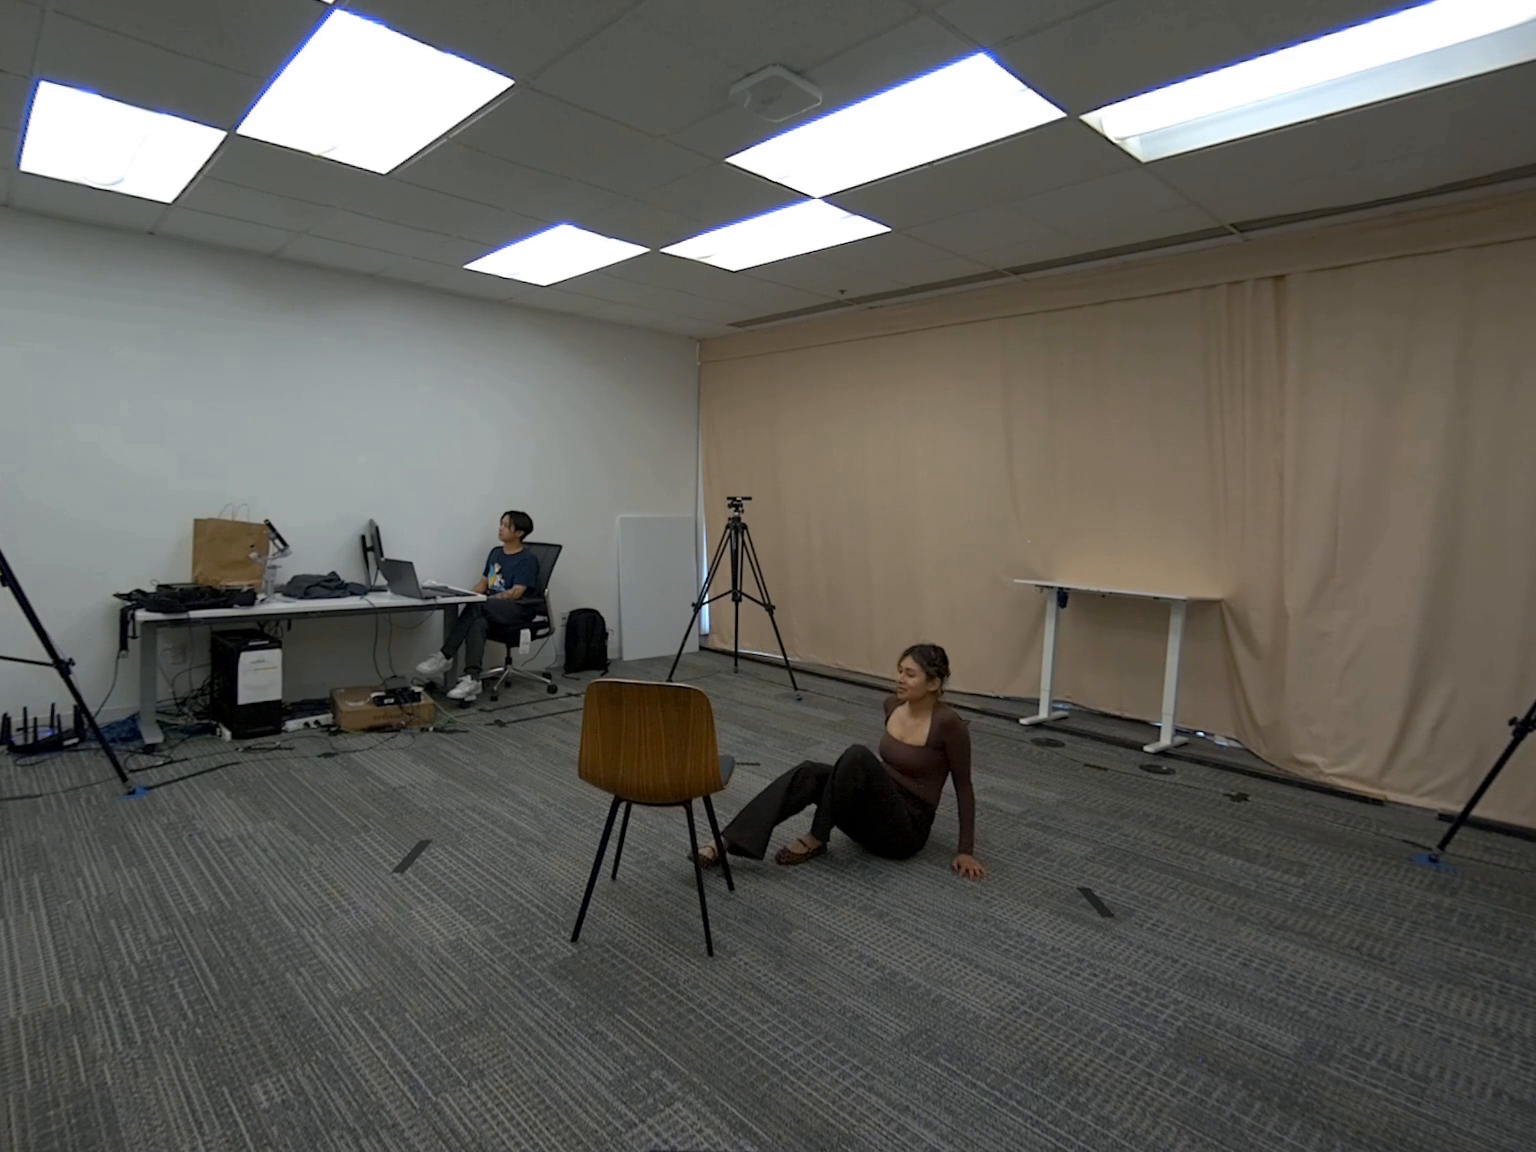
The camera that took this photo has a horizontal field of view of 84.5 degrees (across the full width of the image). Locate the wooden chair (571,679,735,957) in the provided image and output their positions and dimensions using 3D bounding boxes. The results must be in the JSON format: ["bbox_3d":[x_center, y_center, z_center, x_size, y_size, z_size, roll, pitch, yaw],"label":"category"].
[{"bbox_3d":[-0.364,0.704,2.778,0.481,0.873,0.522,1,7,7],"label":"wooden chair"}]
